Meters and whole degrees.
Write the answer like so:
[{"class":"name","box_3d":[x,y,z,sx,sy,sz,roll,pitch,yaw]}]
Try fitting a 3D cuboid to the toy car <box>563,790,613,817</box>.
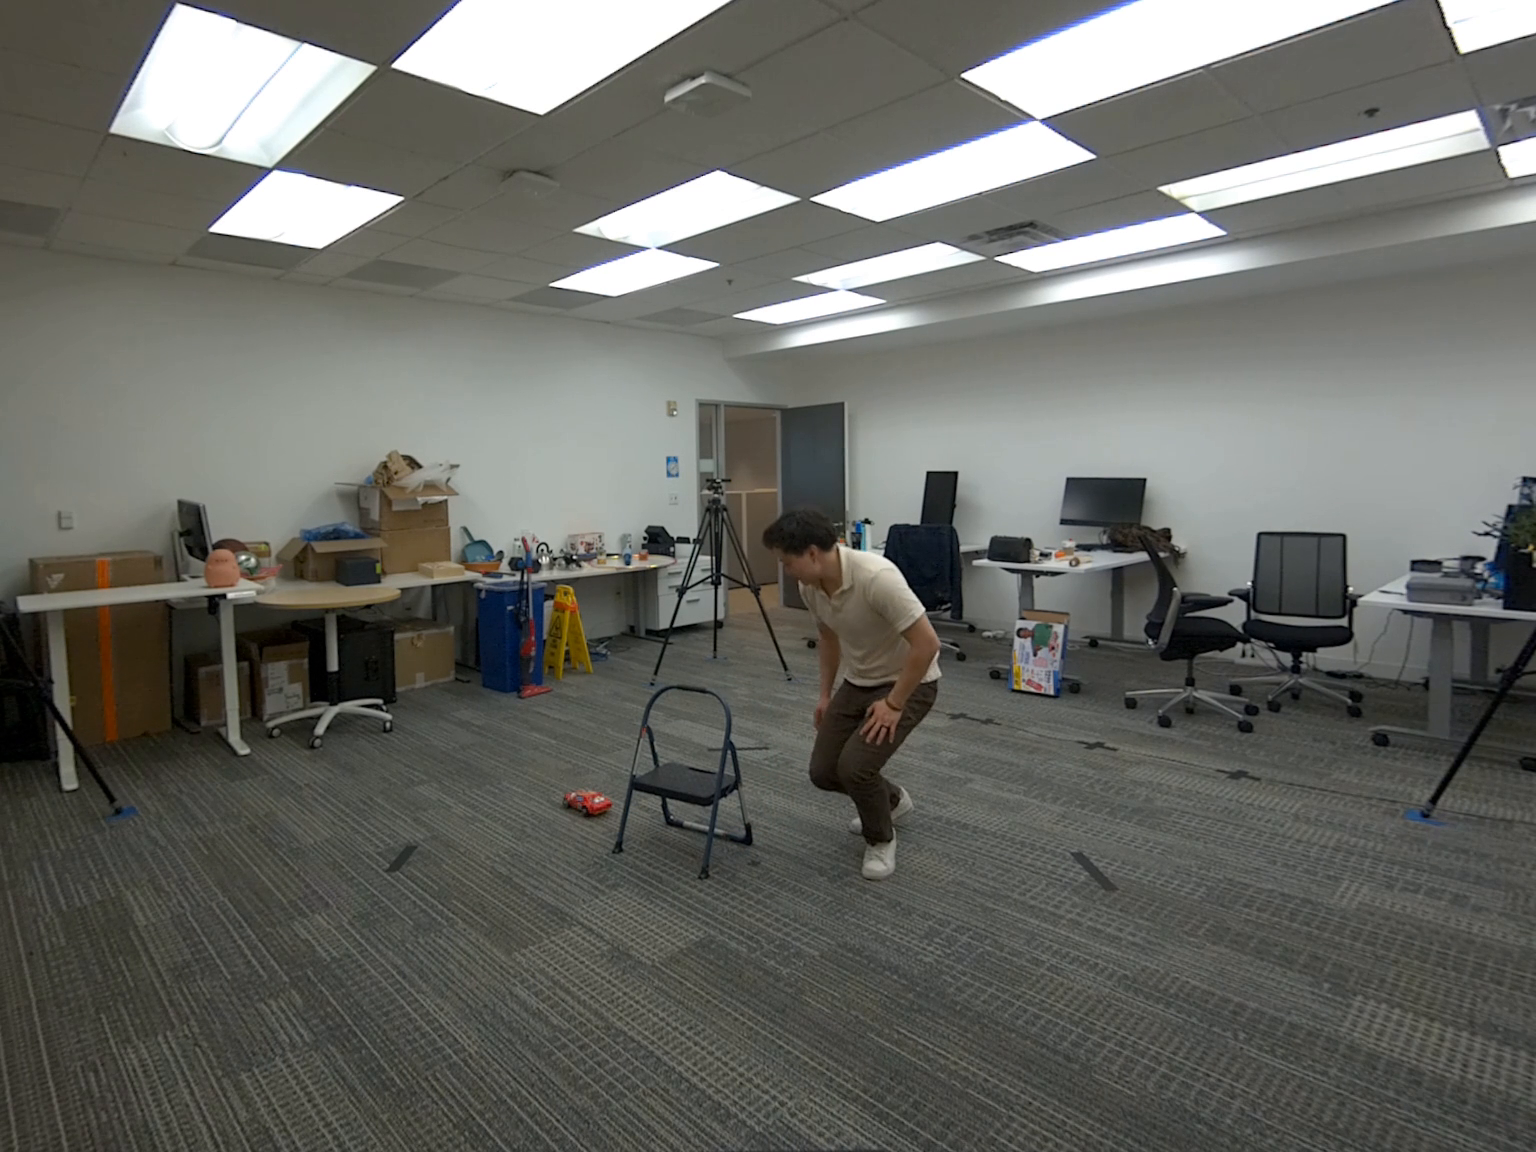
[{"class":"toy car","box_3d":[-0.764,0.966,3.643,0.127,0.083,0.260,-7,-2,-44]}]
